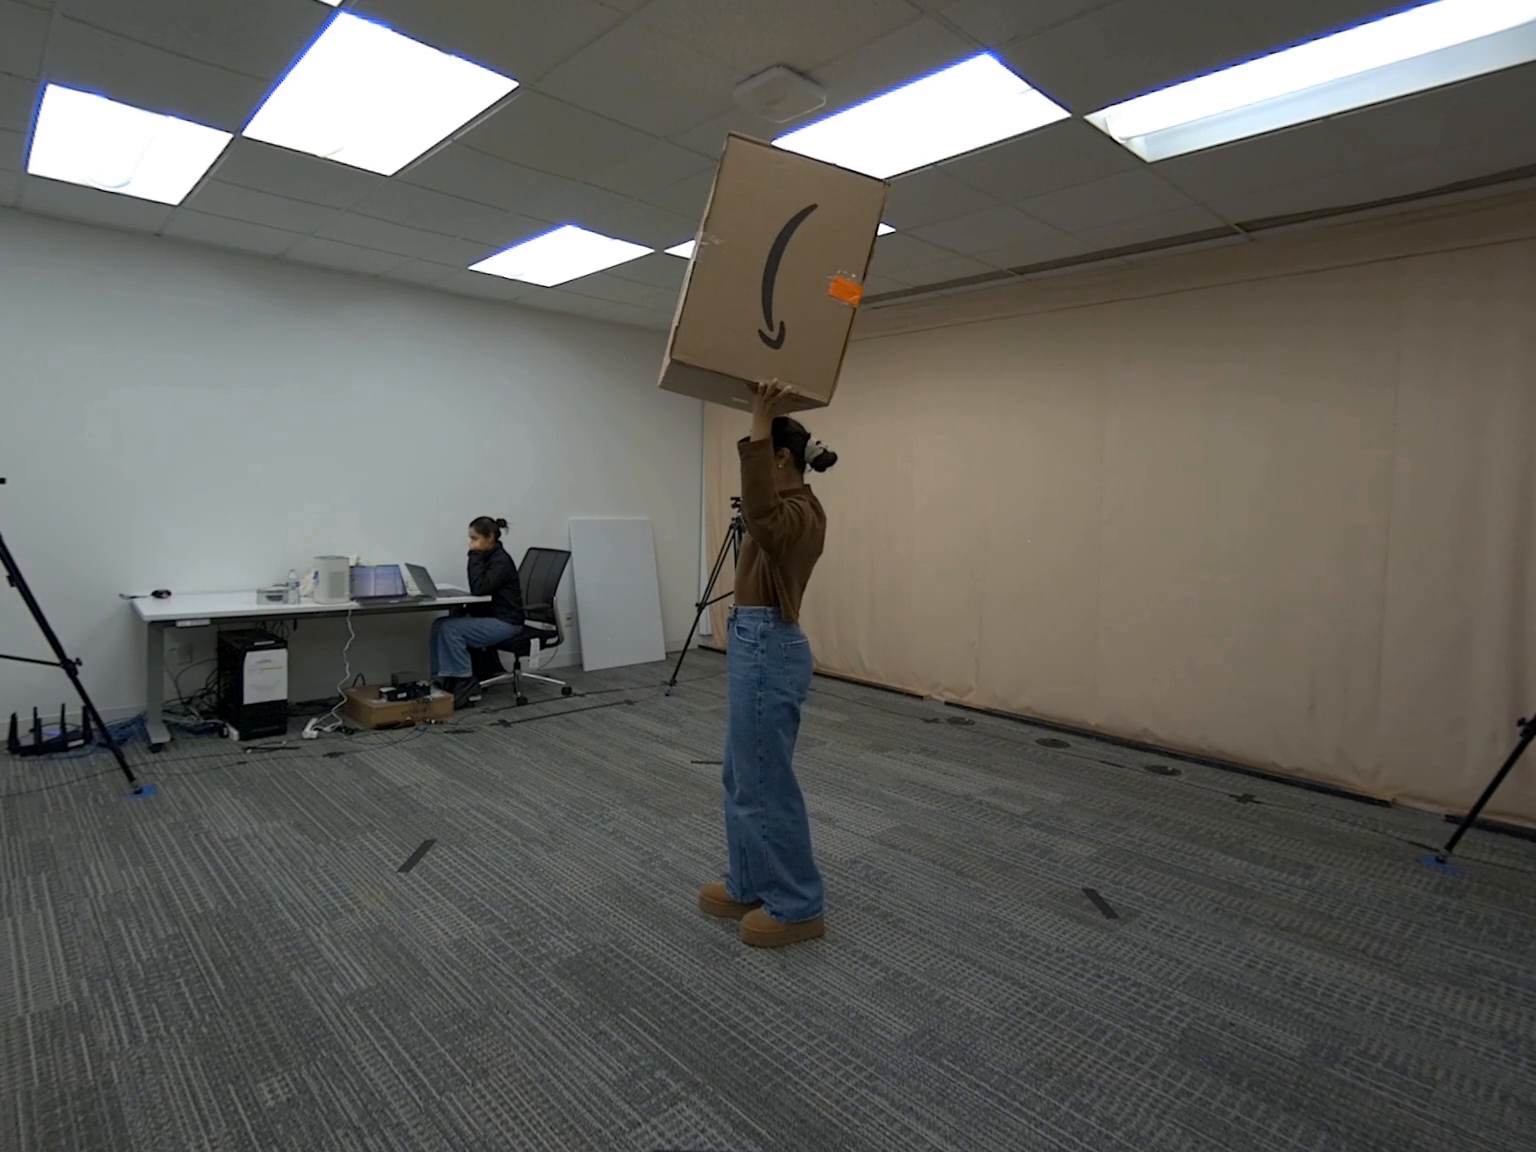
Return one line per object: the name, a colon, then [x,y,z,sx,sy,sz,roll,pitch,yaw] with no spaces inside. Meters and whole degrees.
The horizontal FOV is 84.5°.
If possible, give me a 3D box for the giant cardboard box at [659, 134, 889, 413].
giant cardboard box: [-0.050,-0.836,2.590,0.422,0.576,1.038,15,6,-11]
